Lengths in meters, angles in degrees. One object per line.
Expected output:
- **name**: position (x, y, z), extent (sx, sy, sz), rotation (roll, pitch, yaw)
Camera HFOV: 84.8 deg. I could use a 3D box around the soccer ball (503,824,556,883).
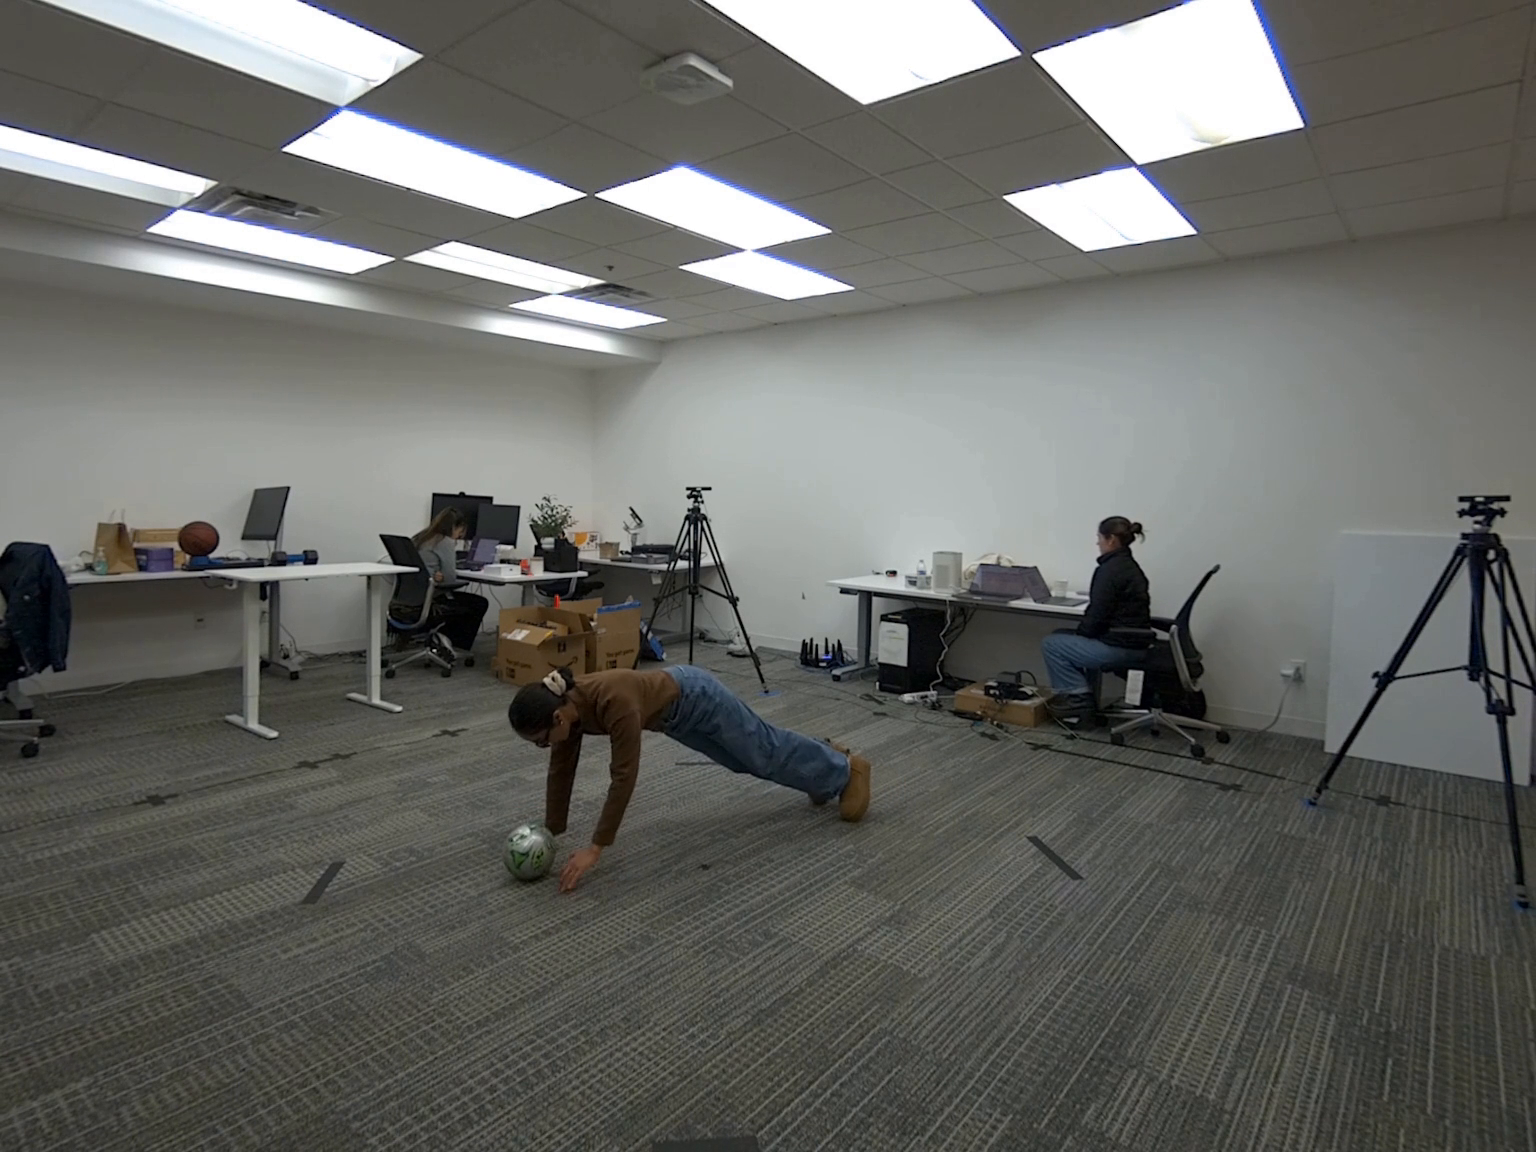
- **soccer ball**: position (-0.856, 0.977, 3.008), extent (0.187, 0.187, 0.188), rotation (1, 4, -2)
